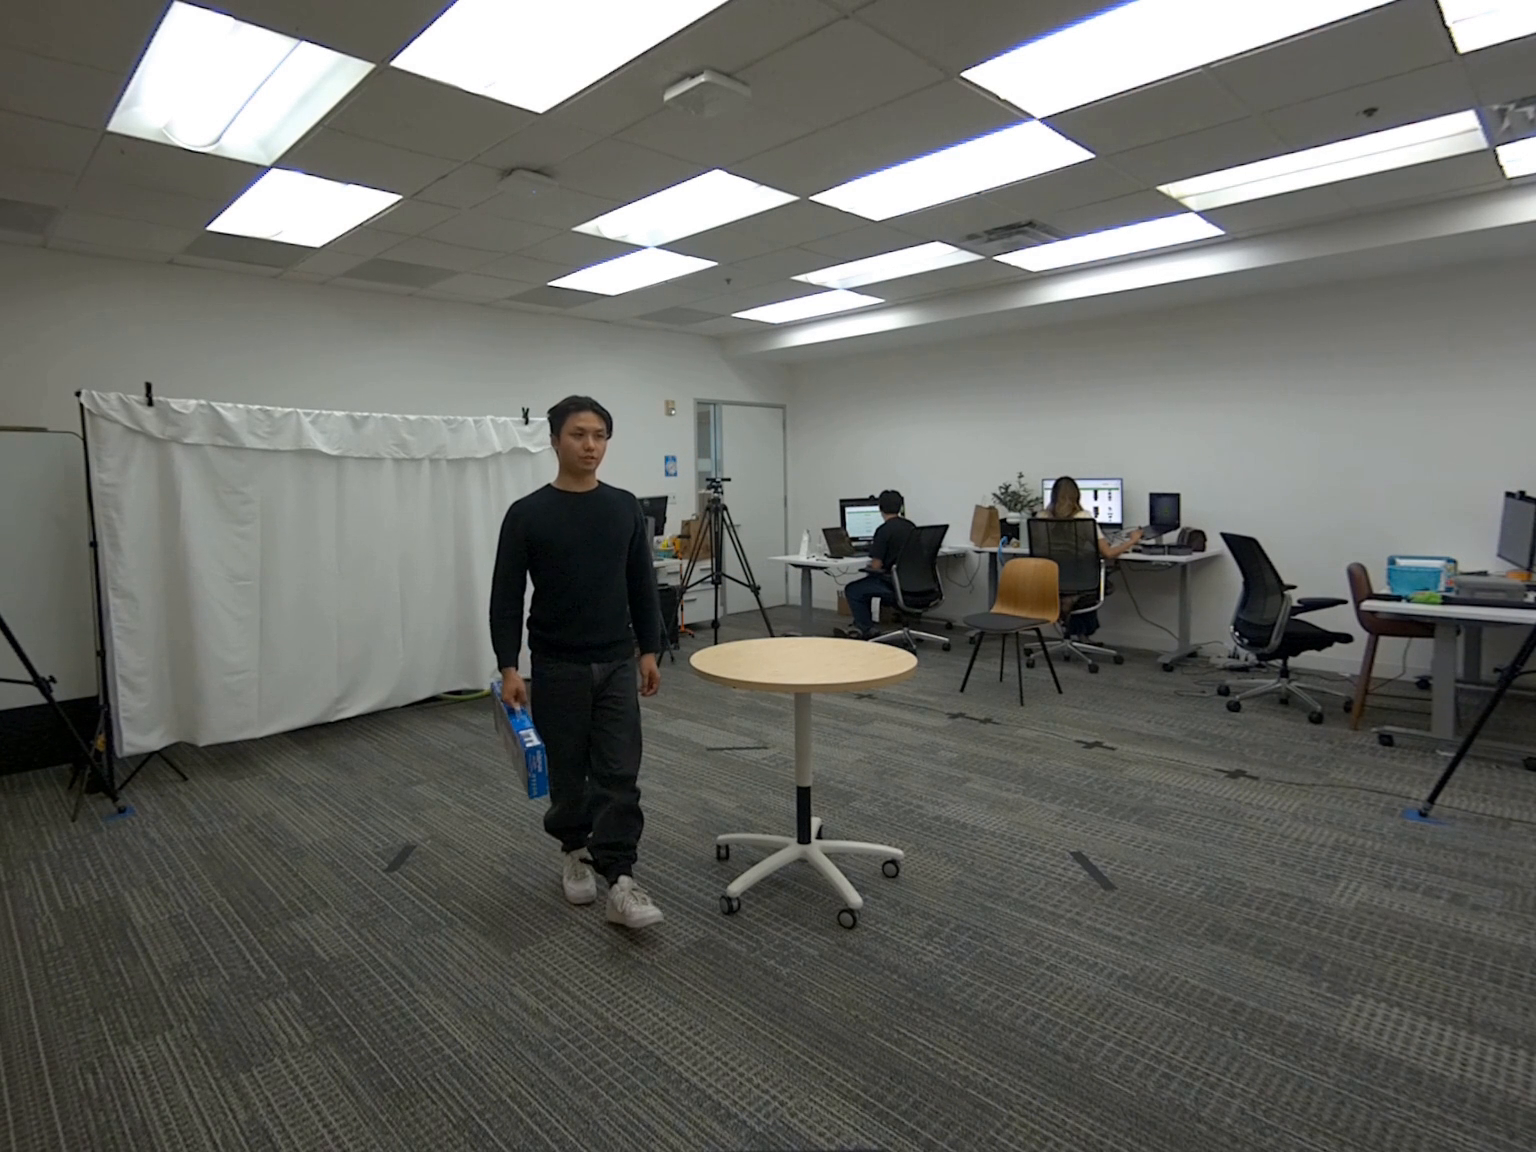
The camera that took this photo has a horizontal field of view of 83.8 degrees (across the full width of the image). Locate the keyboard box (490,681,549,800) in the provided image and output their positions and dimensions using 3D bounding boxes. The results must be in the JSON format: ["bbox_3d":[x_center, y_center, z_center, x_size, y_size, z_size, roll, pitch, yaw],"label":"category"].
[{"bbox_3d":[-0.774,0.497,2.654,0.058,0.173,0.453,-8,23,-27],"label":"keyboard box"}]
